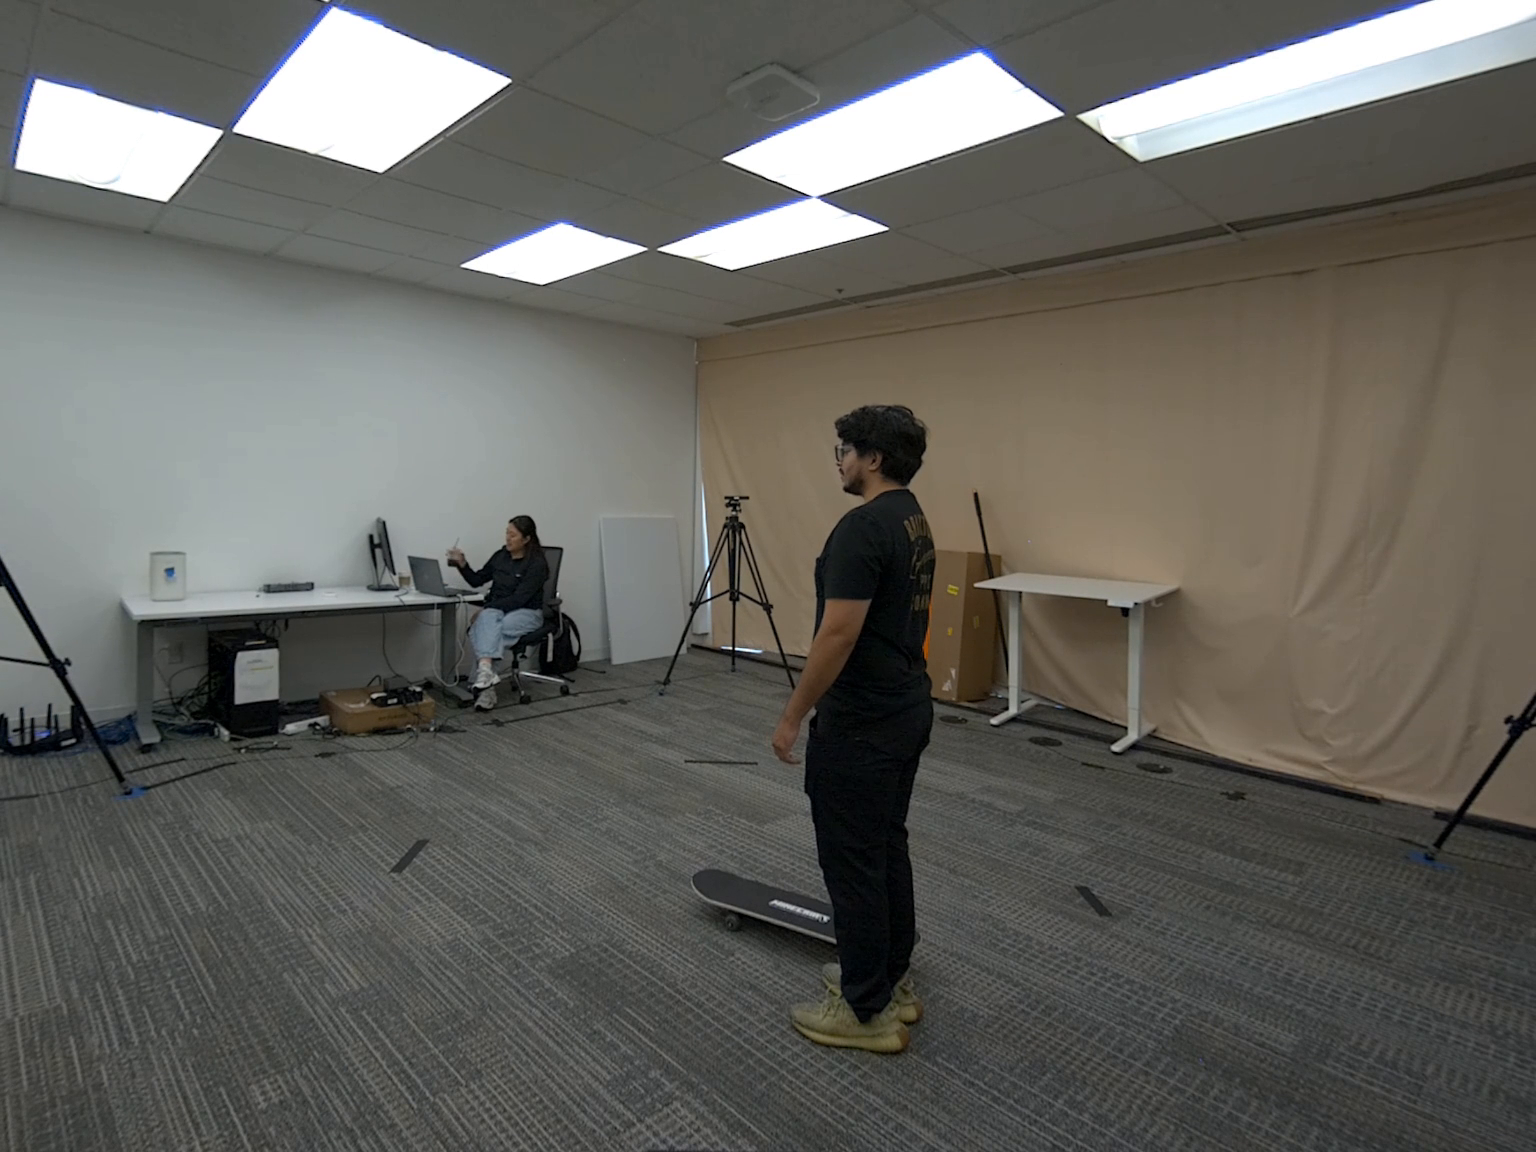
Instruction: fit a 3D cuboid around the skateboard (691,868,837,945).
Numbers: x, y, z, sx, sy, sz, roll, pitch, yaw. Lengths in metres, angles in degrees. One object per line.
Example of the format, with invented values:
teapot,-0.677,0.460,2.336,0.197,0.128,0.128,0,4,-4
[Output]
skateboard,0.086,1.093,2.669,0.803,0.110,0.190,5,7,30
